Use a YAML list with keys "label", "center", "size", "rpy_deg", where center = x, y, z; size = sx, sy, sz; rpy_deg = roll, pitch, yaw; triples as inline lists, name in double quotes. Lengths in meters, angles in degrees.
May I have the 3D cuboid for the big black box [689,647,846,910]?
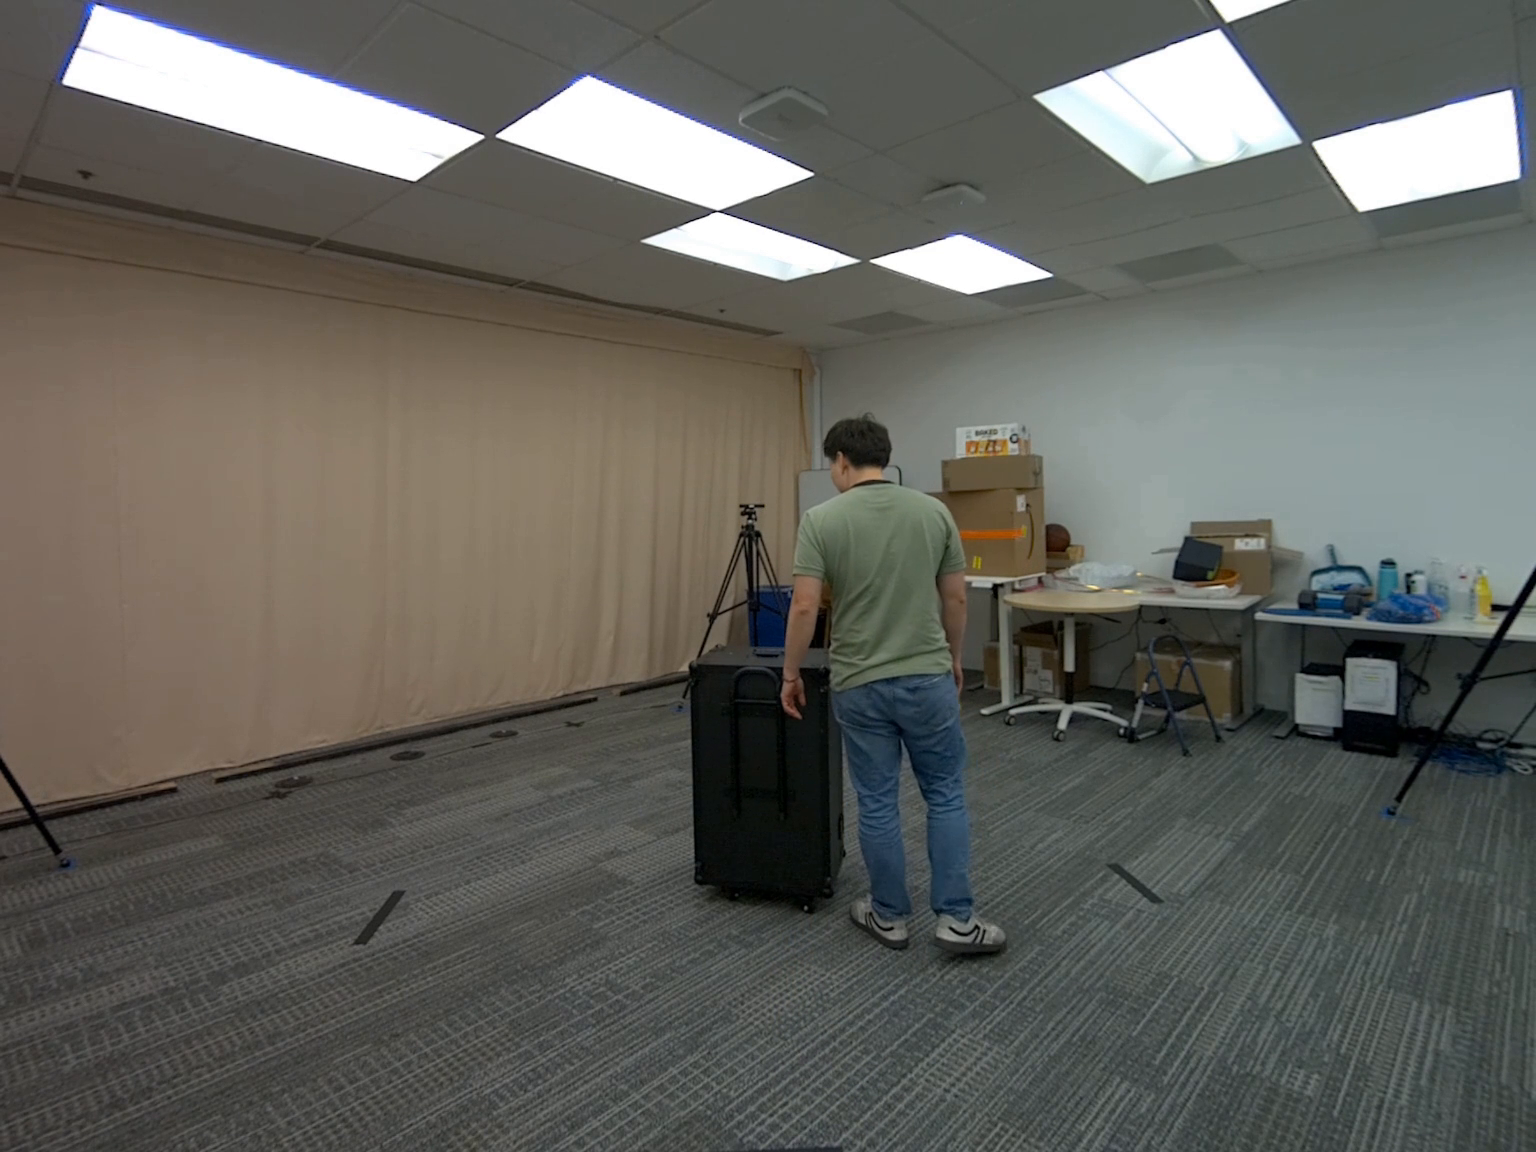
- label: "big black box"
  center: [0.011, 0.709, 3.023]
  size: [0.530, 0.859, 0.391]
  rpy_deg: [0, 3, 15]
